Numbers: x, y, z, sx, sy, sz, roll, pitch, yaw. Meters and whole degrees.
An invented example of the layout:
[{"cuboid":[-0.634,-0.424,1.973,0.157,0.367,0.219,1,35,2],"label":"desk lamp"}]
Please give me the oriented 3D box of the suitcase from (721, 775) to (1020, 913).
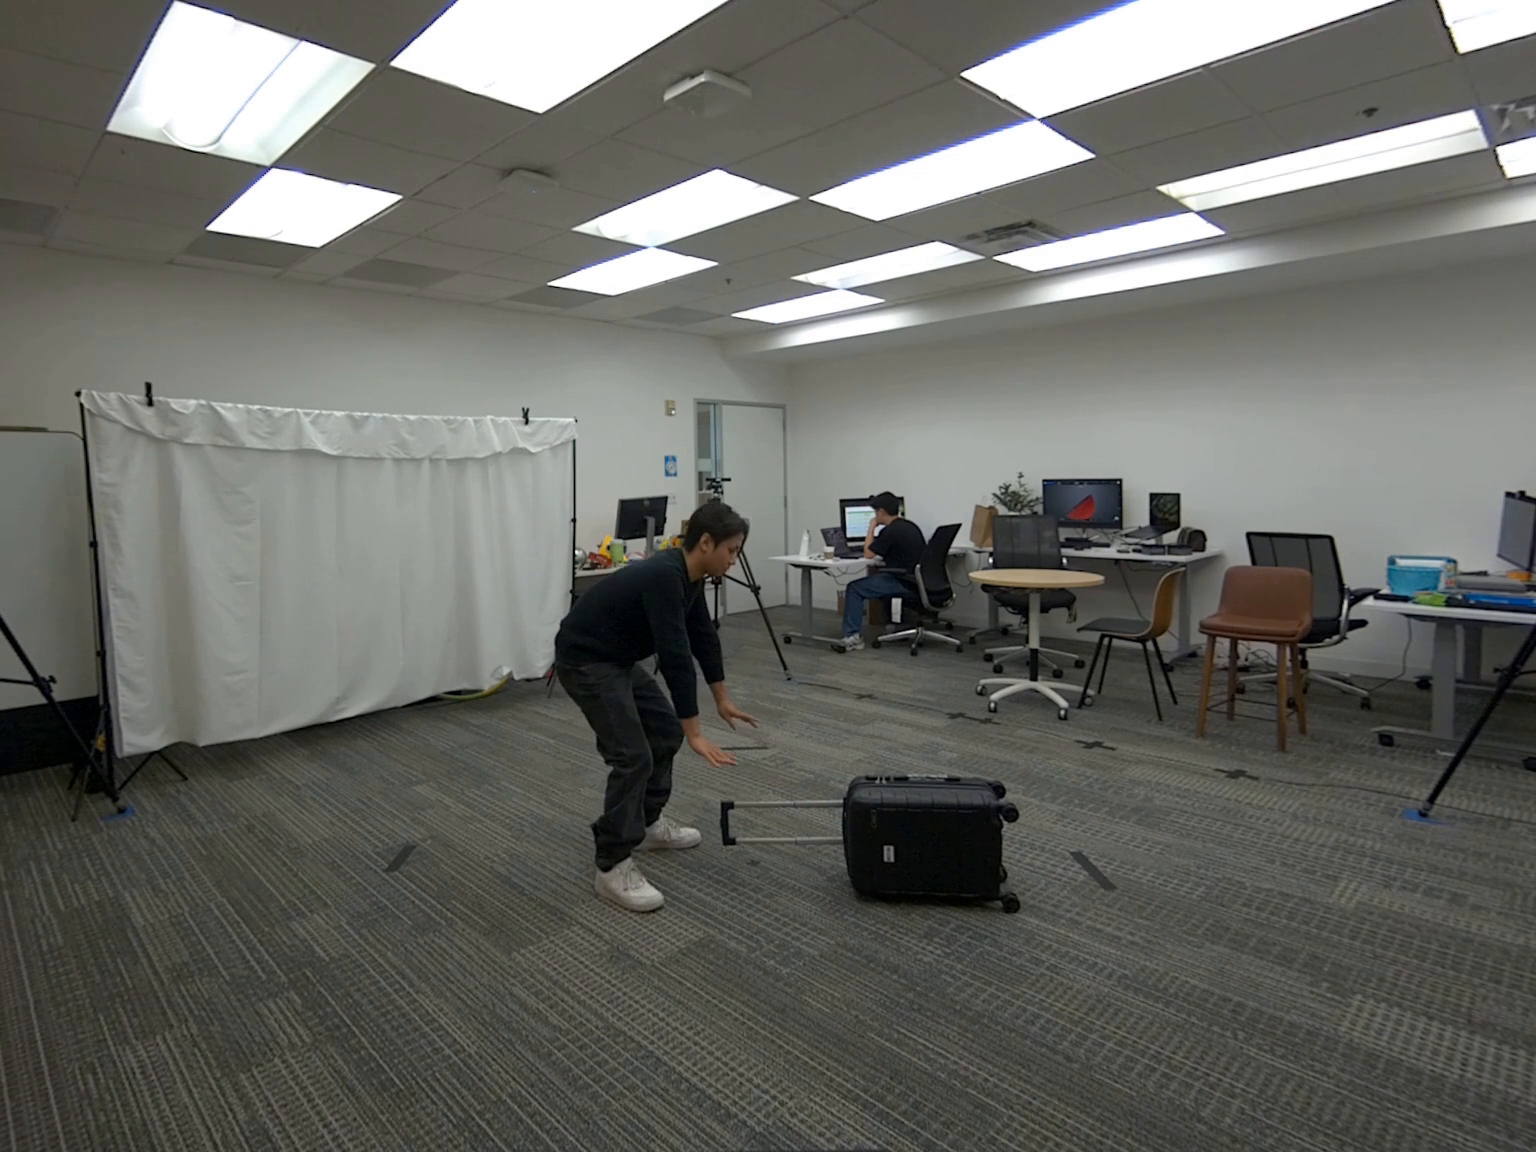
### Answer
[{"cuboid":[0.321,0.868,2.880,0.984,0.383,0.256,0,3,6],"label":"suitcase"}]
